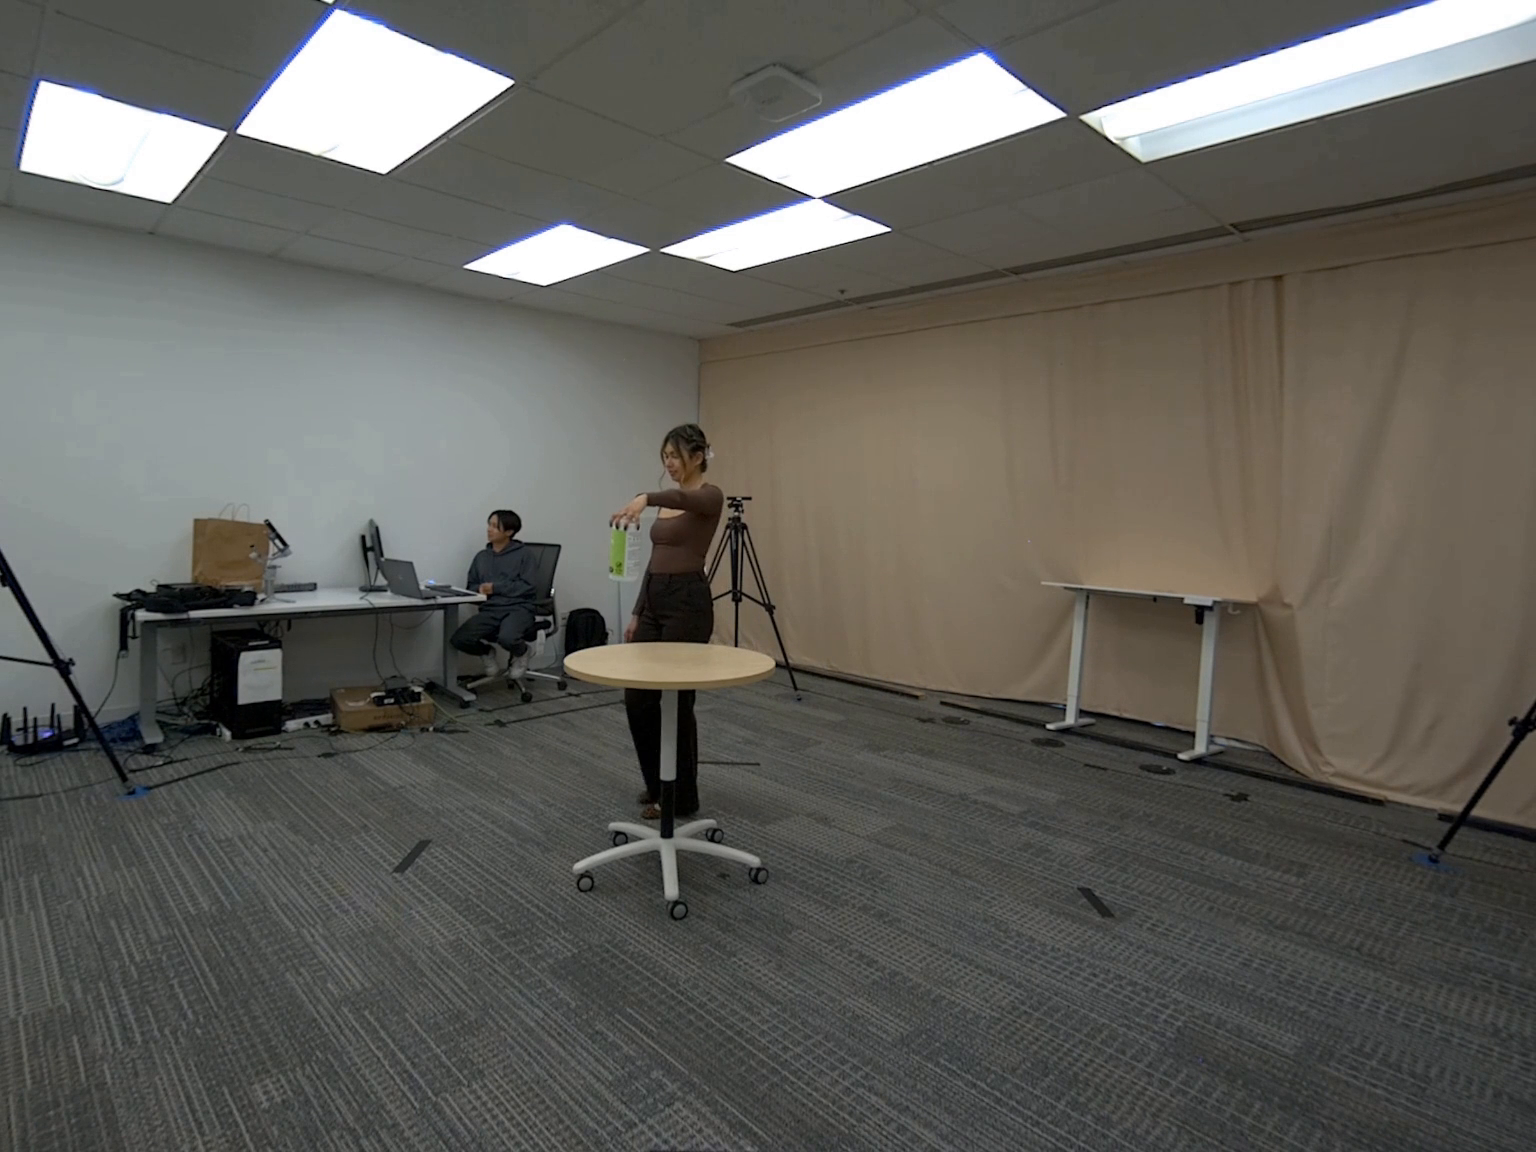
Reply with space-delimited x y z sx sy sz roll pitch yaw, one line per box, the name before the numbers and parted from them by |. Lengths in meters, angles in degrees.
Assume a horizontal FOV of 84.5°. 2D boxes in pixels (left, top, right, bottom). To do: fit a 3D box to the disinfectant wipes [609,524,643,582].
disinfectant wipes | -0.537 -0.089 3.068 0.117 0.216 0.118 3 8 -2
